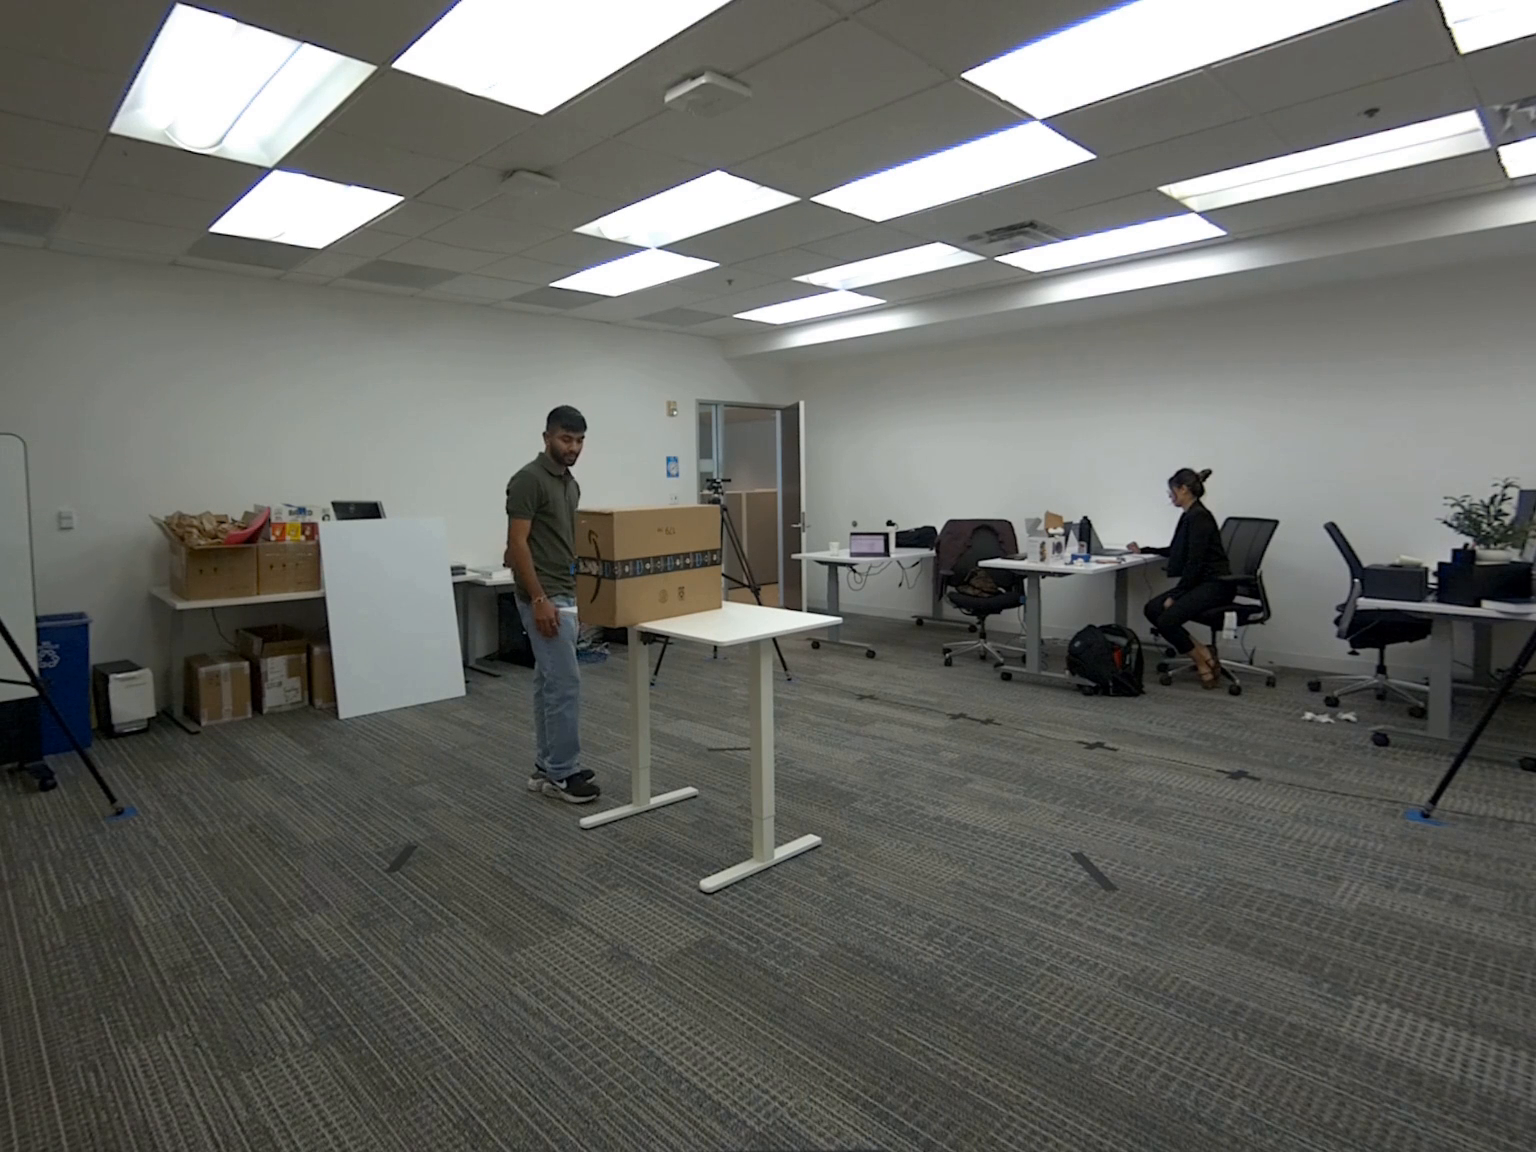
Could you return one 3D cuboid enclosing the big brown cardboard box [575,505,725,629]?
[{"bbox_3d":[-0.451,-0.053,3.267,0.240,0.416,0.574,4,7,41],"label":"big brown cardboard box"}]
